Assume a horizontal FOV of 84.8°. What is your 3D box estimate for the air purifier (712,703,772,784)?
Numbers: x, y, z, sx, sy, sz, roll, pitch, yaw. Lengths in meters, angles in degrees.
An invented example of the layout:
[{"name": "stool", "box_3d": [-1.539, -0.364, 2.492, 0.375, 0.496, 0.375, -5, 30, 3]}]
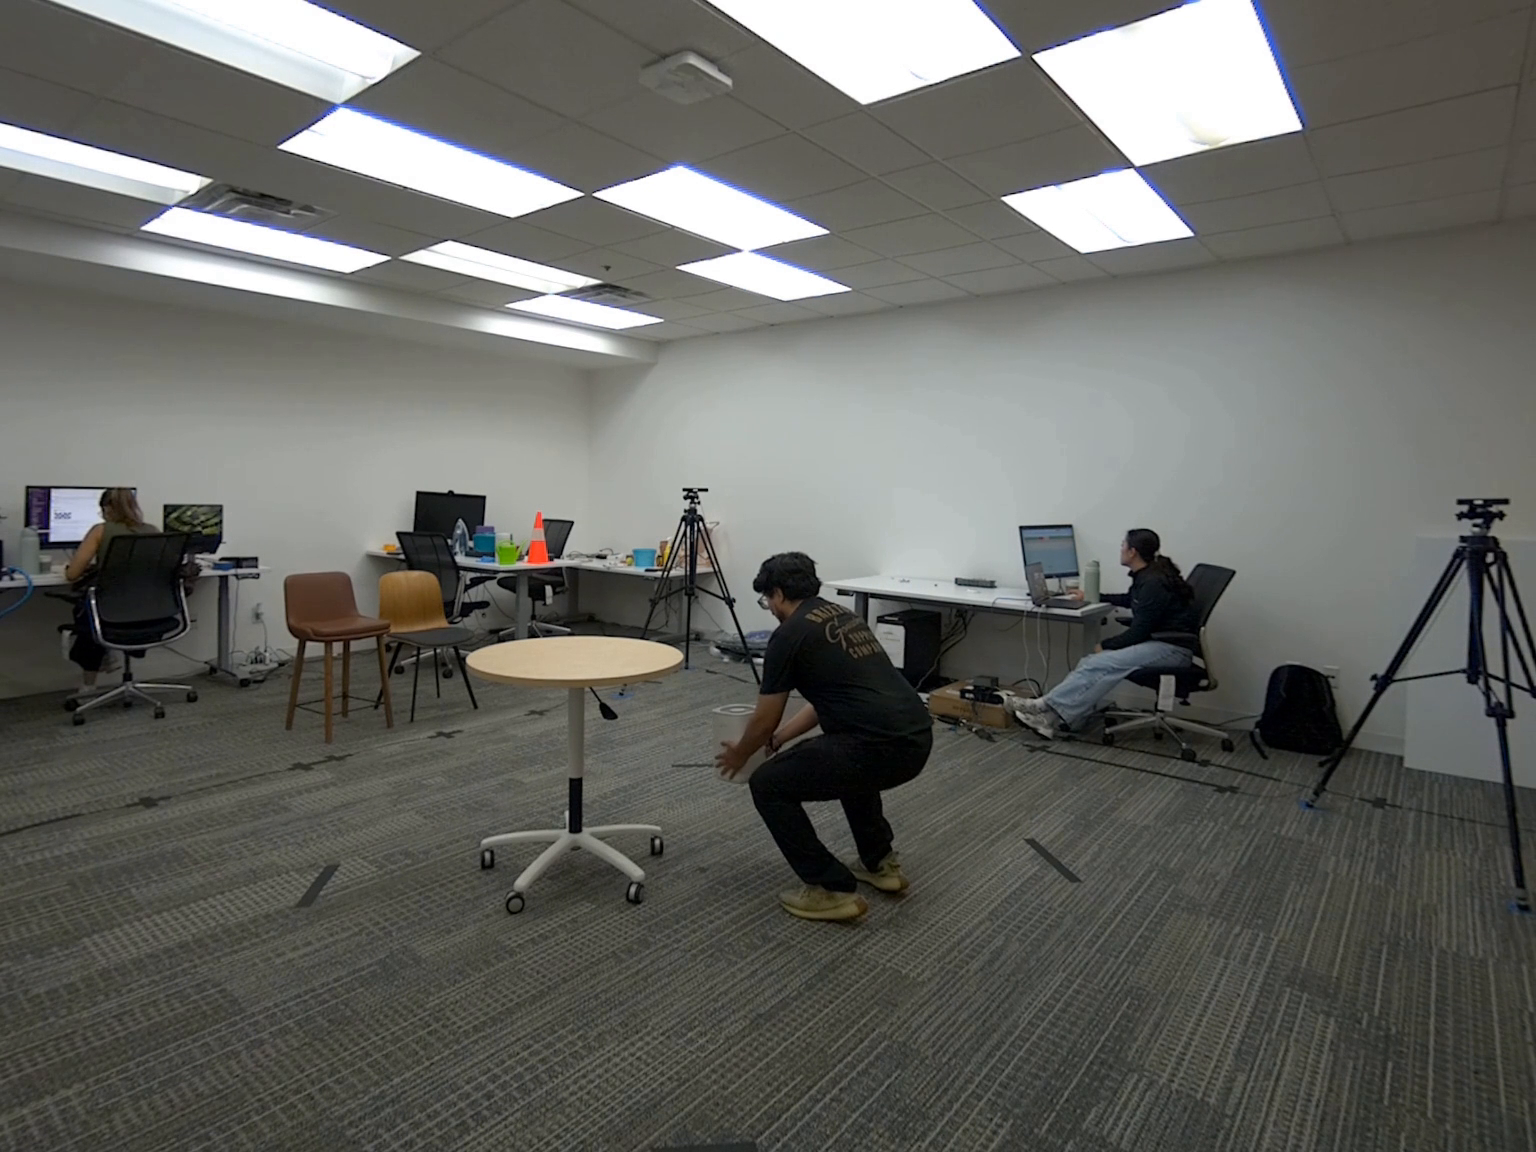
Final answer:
[{"name": "air purifier", "box_3d": [-0.124, 0.639, 3.271, 0.176, 0.265, 0.167, -3, 0, 36]}]
